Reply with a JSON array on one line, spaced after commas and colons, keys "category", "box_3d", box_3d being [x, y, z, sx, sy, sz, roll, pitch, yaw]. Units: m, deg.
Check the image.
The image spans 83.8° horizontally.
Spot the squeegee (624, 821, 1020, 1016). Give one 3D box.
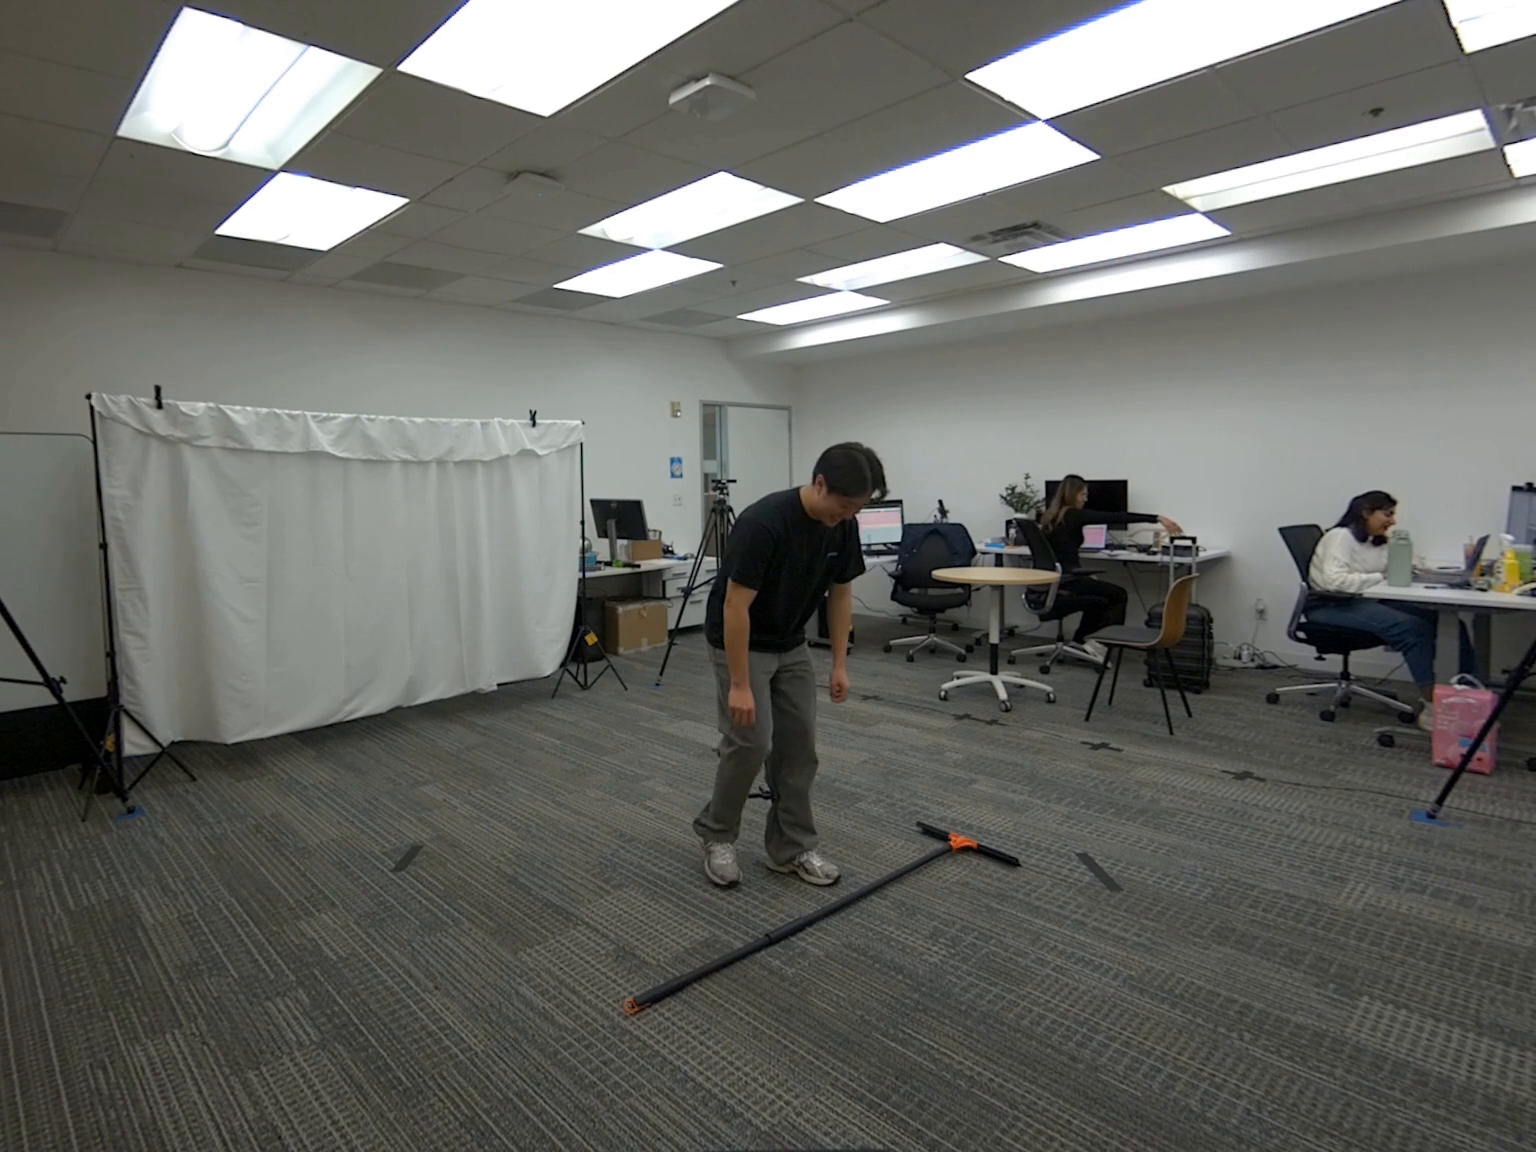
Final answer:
[{"category": "squeegee", "box_3d": [0.196, 1.054, 2.735, 1.499, 0.052, 0.451, -8, 10, -40]}]
